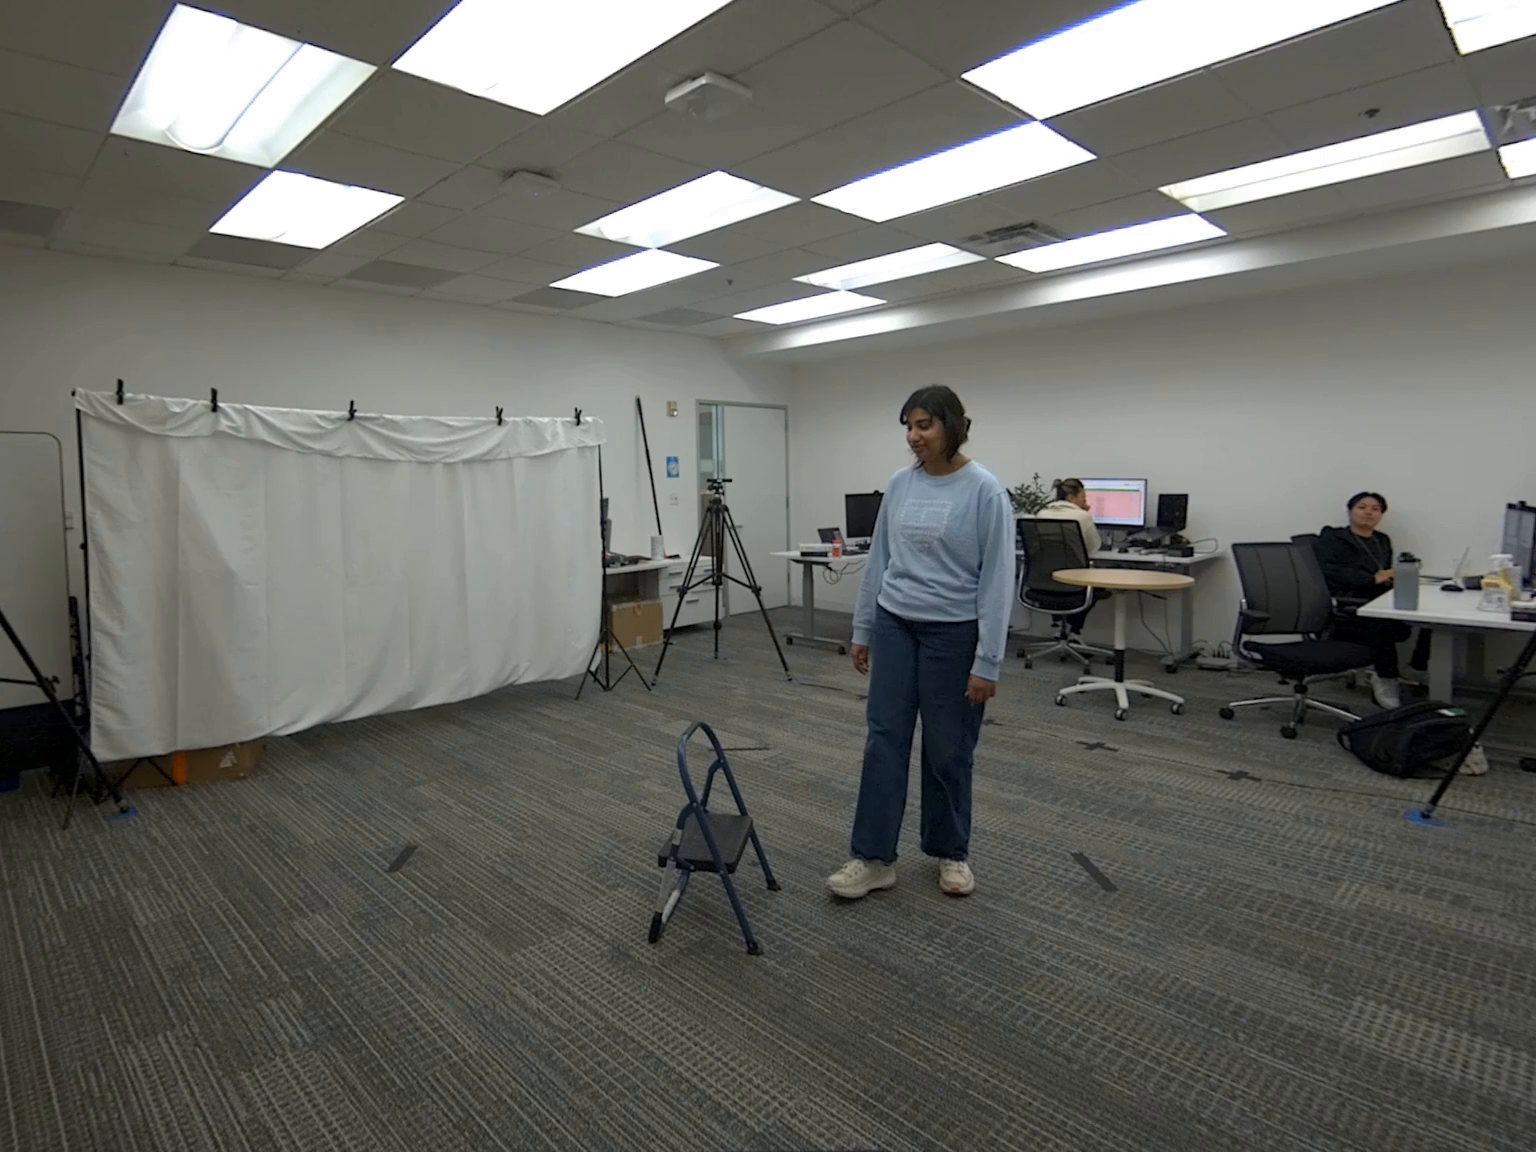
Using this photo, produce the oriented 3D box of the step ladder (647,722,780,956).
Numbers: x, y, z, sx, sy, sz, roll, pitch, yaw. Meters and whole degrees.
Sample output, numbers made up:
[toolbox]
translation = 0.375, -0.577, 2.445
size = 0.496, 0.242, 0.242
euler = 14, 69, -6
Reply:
[step ladder]
translation = -0.167, 0.788, 2.725
size = 0.353, 0.603, 0.428
euler = 0, 5, 10
